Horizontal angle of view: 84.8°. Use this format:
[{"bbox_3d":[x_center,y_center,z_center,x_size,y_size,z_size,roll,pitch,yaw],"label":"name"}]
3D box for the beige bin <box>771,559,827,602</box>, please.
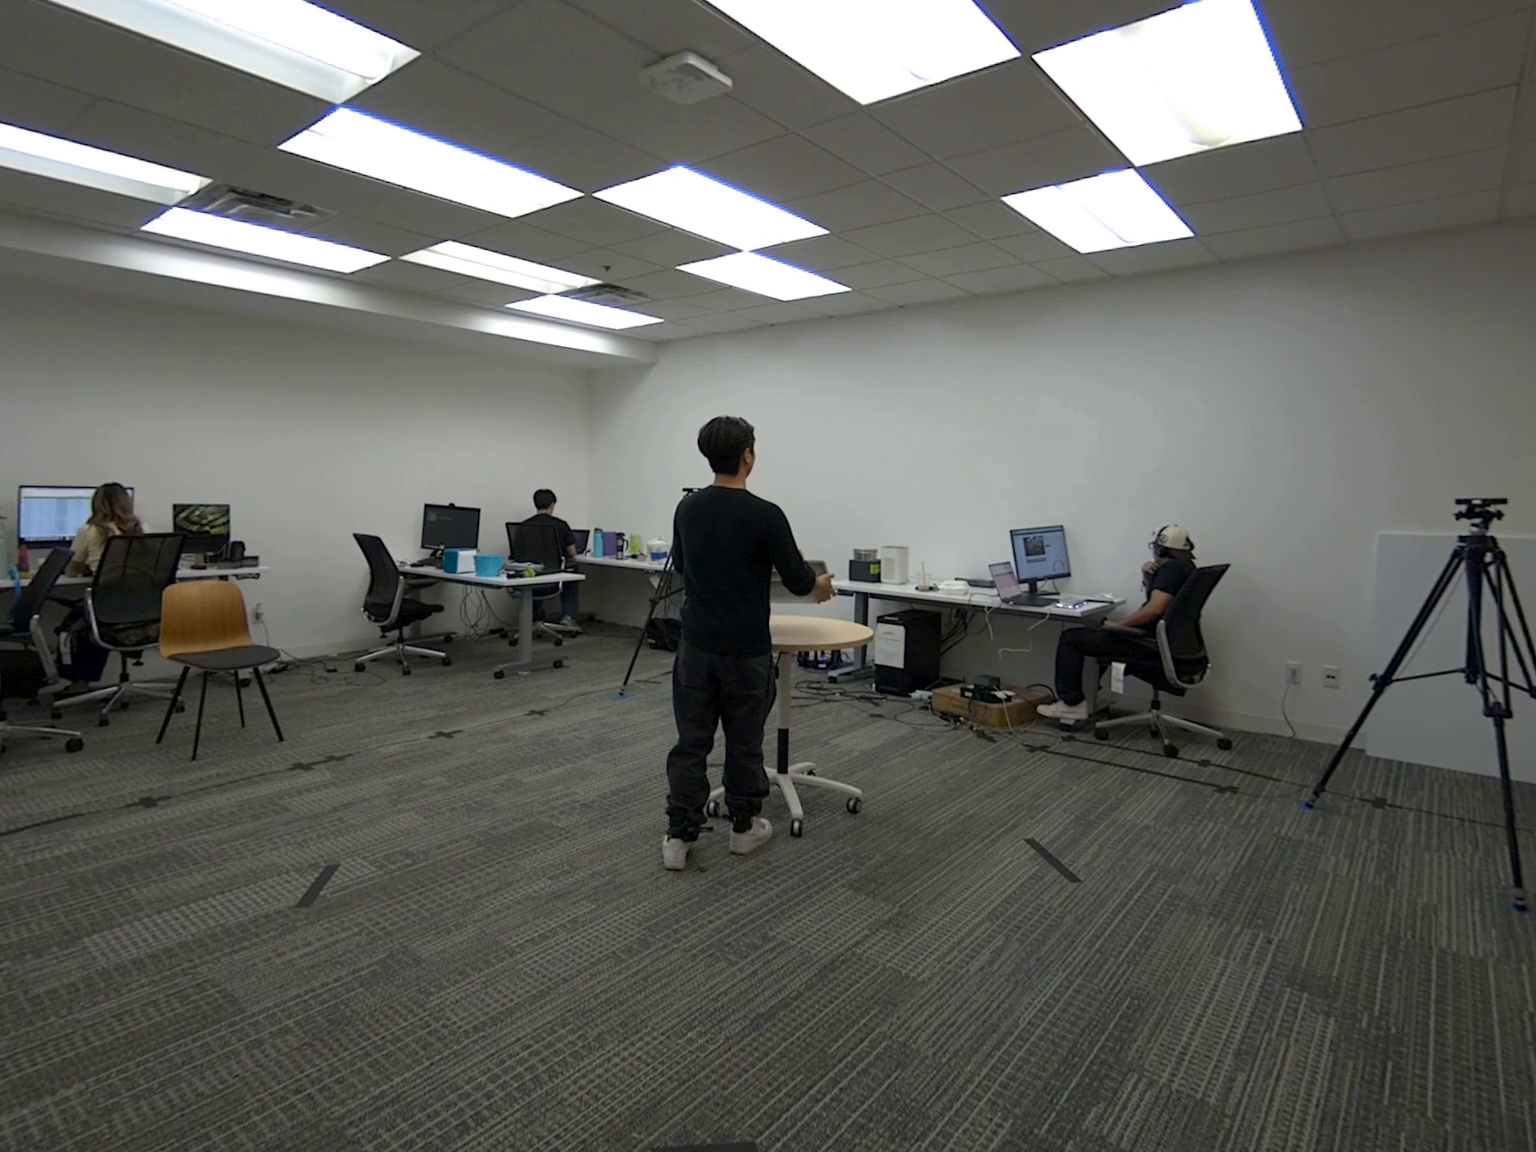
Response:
[{"bbox_3d":[0.031,-0.011,3.668,0.374,0.188,0.429,-3,8,-9],"label":"beige bin"}]
